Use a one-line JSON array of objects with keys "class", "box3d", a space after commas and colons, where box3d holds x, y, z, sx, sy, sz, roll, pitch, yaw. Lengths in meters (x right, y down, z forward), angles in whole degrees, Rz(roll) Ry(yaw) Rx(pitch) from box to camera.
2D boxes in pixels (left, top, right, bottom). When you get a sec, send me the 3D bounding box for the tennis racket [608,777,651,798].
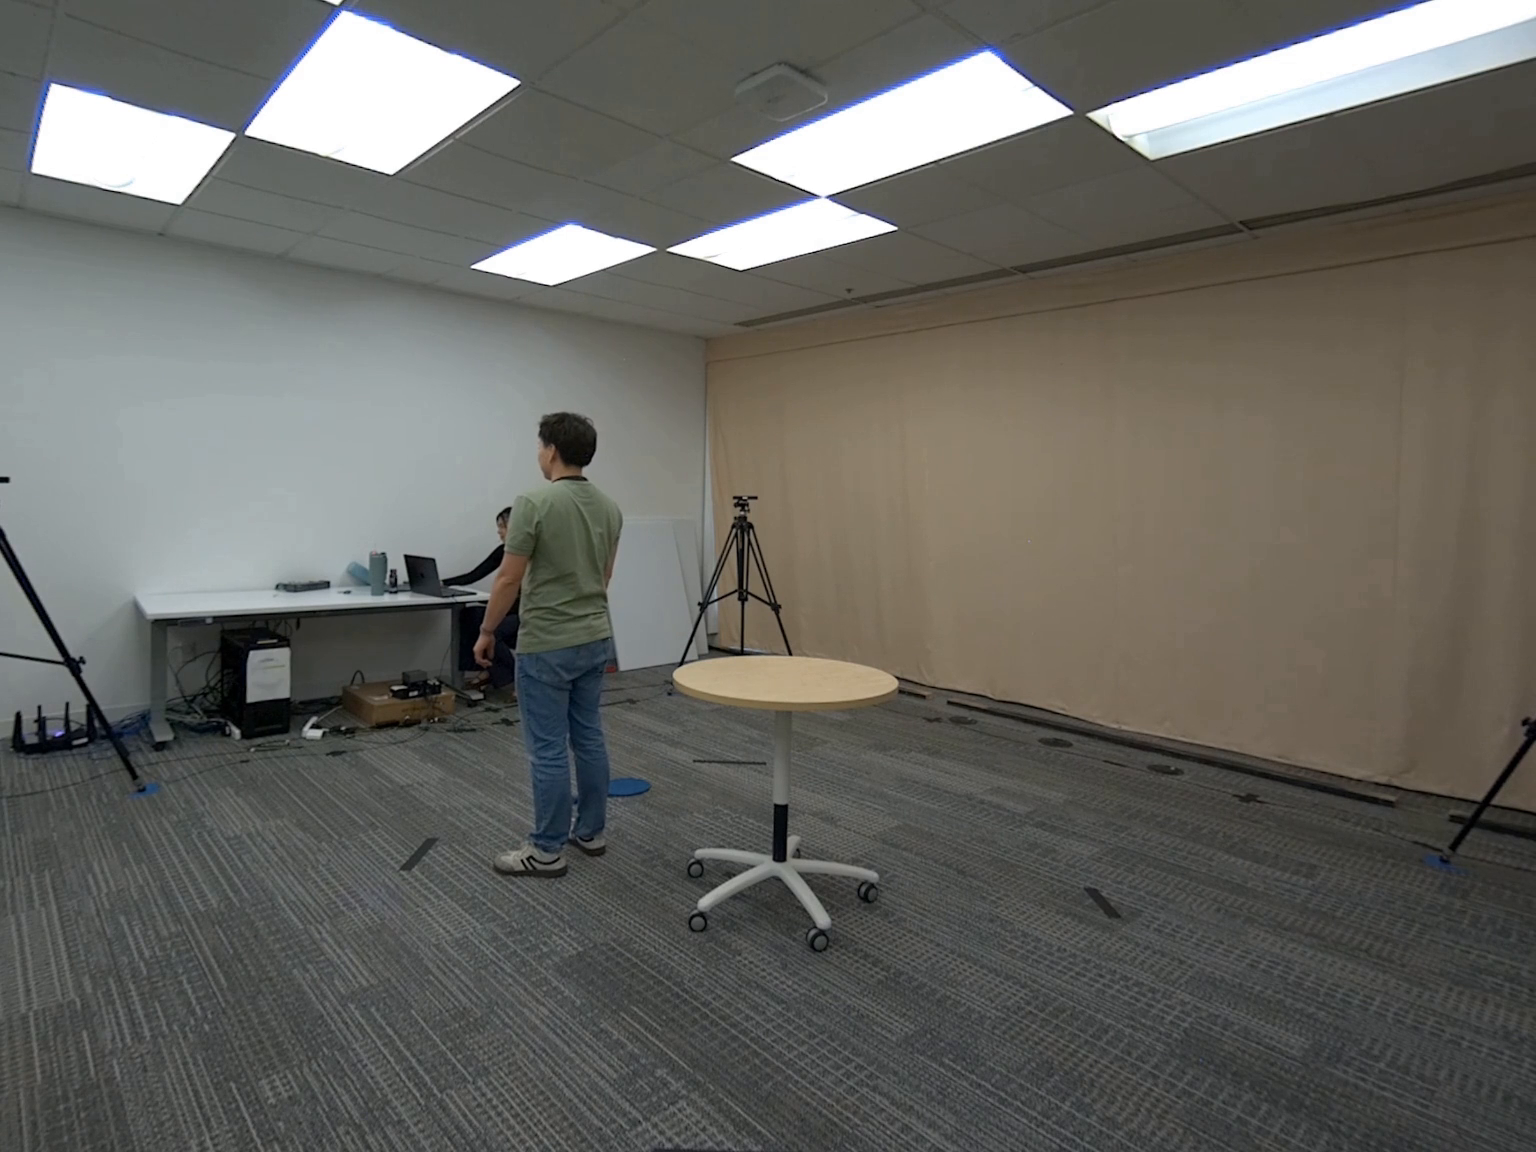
[{"class": "tennis racket", "box3d": [-0.744, 1.001, 3.942, 0.219, 0.032, 0.423, 8, 6, 42]}]
